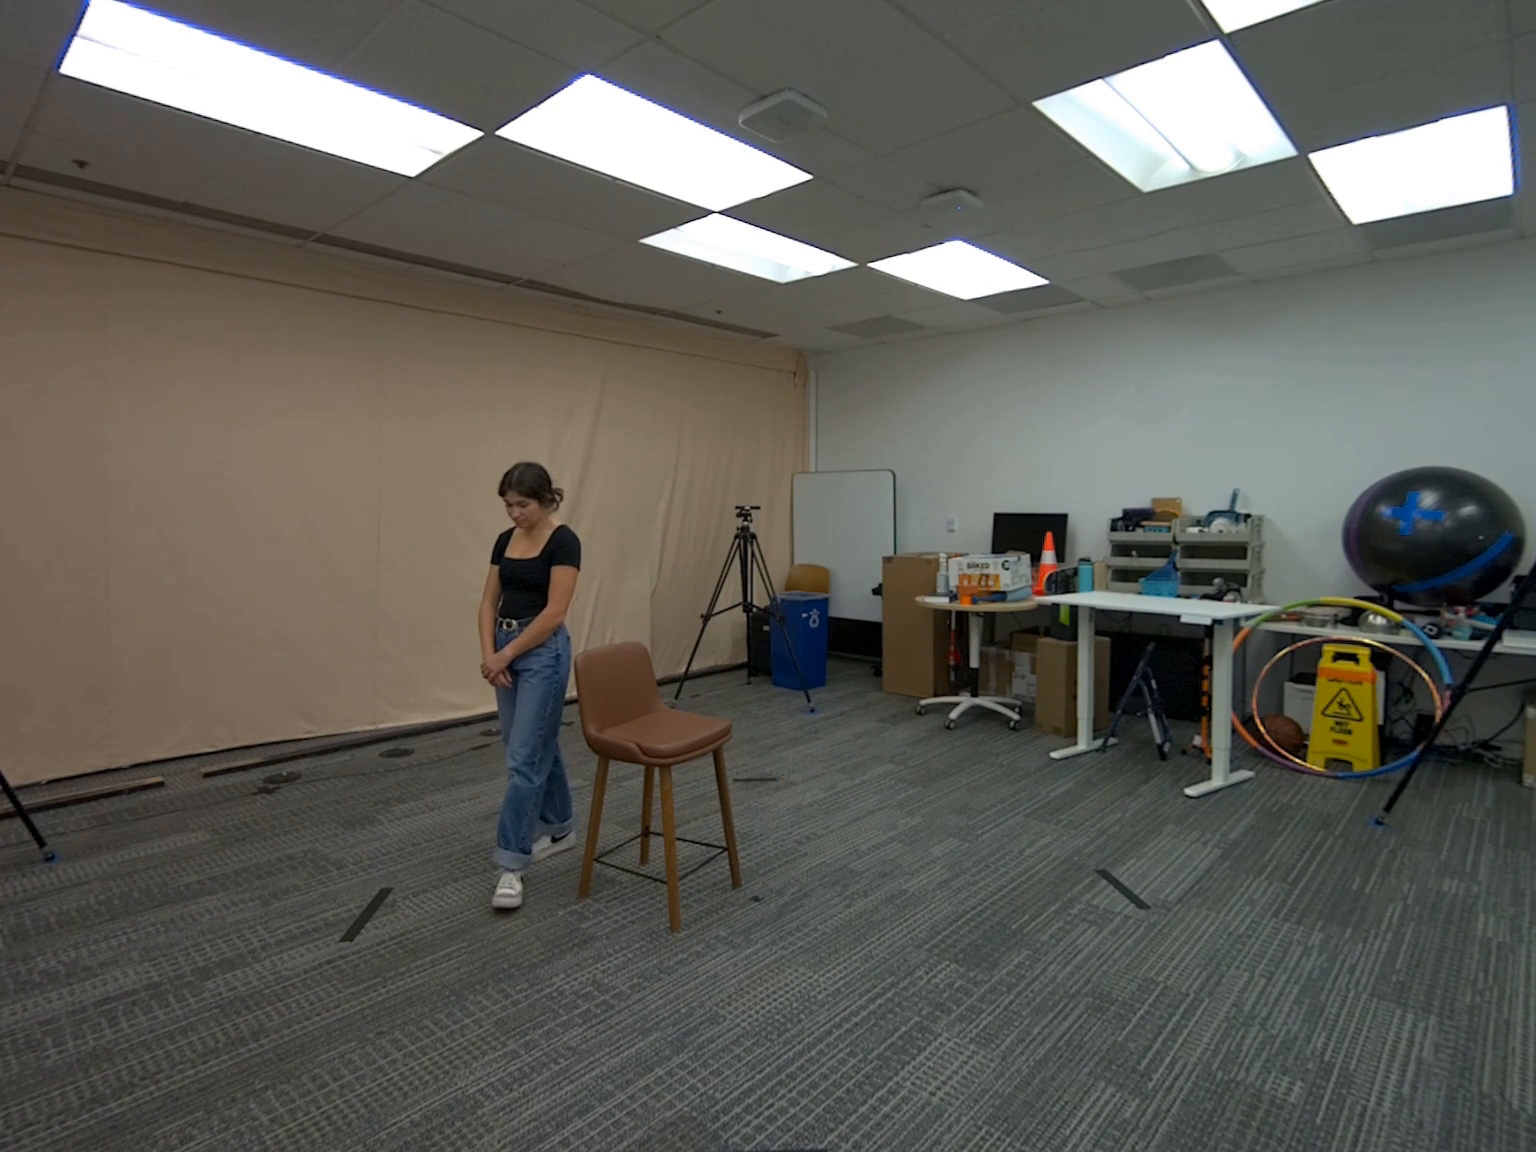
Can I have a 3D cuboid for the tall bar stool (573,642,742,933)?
[{"bbox_3d":[-0.402,0.707,3.017,0.481,0.888,0.444,-1,3,33],"label":"tall bar stool"}]
